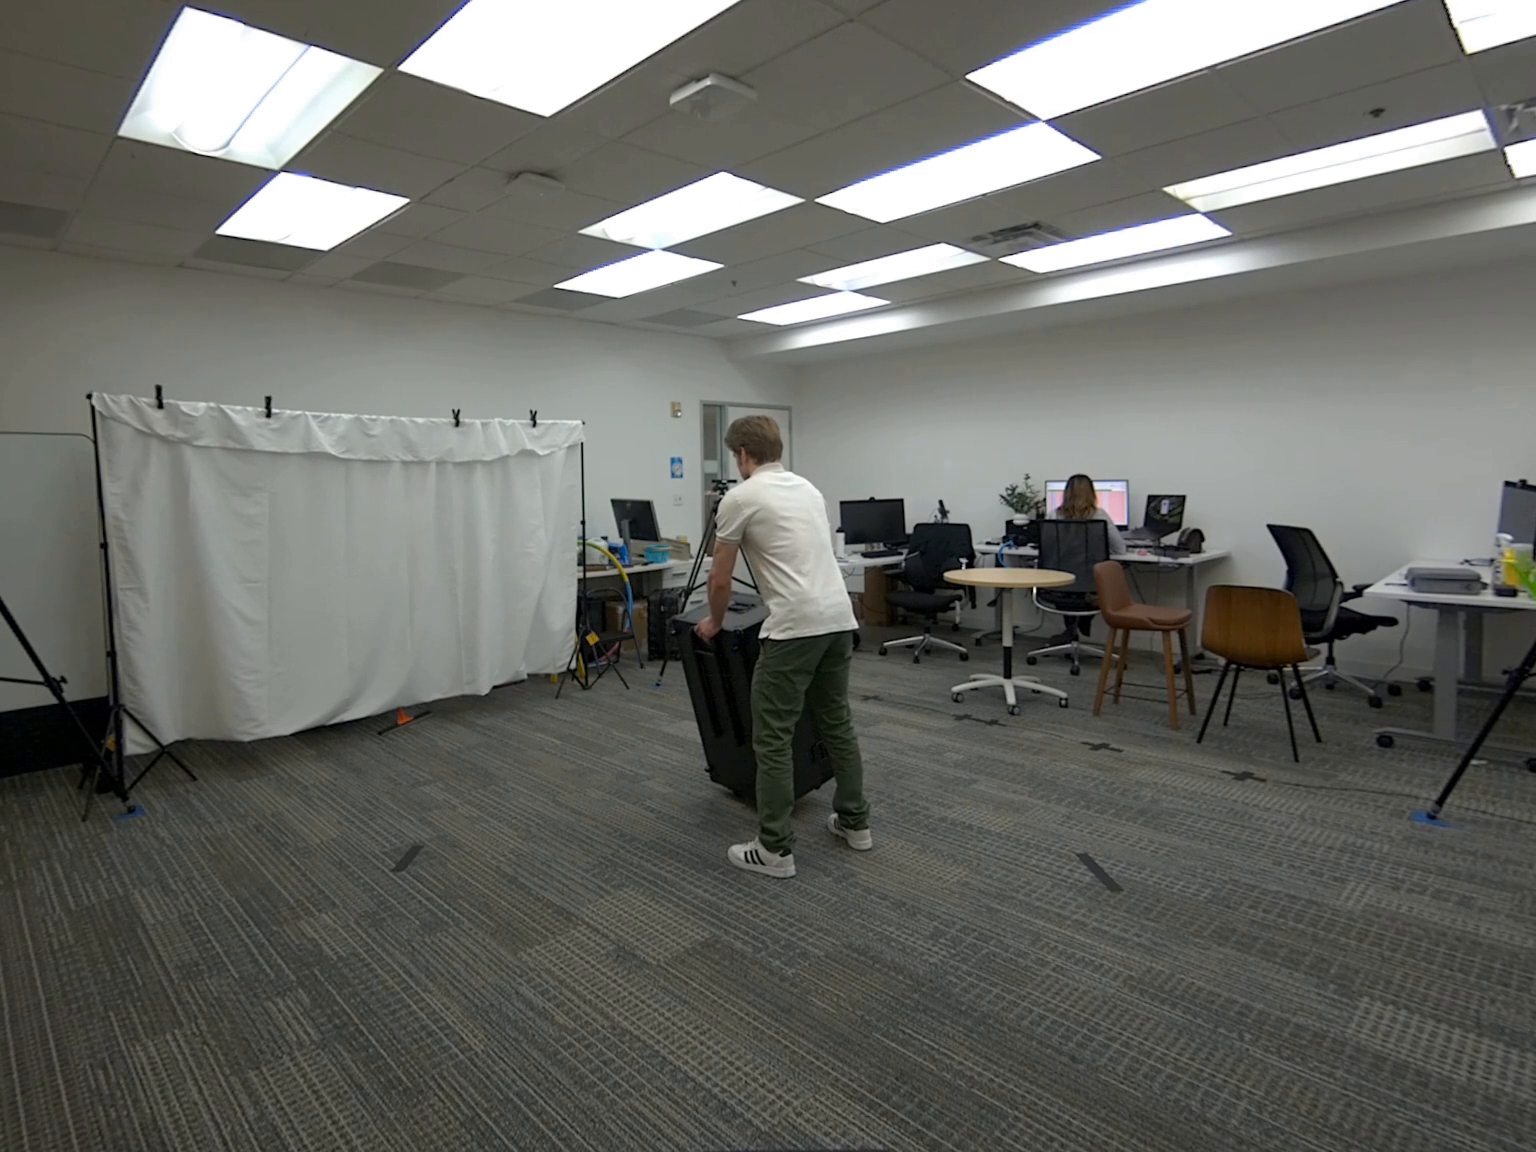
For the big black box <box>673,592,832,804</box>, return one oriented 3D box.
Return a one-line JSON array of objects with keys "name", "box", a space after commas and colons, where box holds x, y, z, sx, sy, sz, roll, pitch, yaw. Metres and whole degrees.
[{"name": "big black box", "box": [-0.051, 0.549, 3.665, 0.379, 0.858, 0.539, -21, 14, -35]}]
